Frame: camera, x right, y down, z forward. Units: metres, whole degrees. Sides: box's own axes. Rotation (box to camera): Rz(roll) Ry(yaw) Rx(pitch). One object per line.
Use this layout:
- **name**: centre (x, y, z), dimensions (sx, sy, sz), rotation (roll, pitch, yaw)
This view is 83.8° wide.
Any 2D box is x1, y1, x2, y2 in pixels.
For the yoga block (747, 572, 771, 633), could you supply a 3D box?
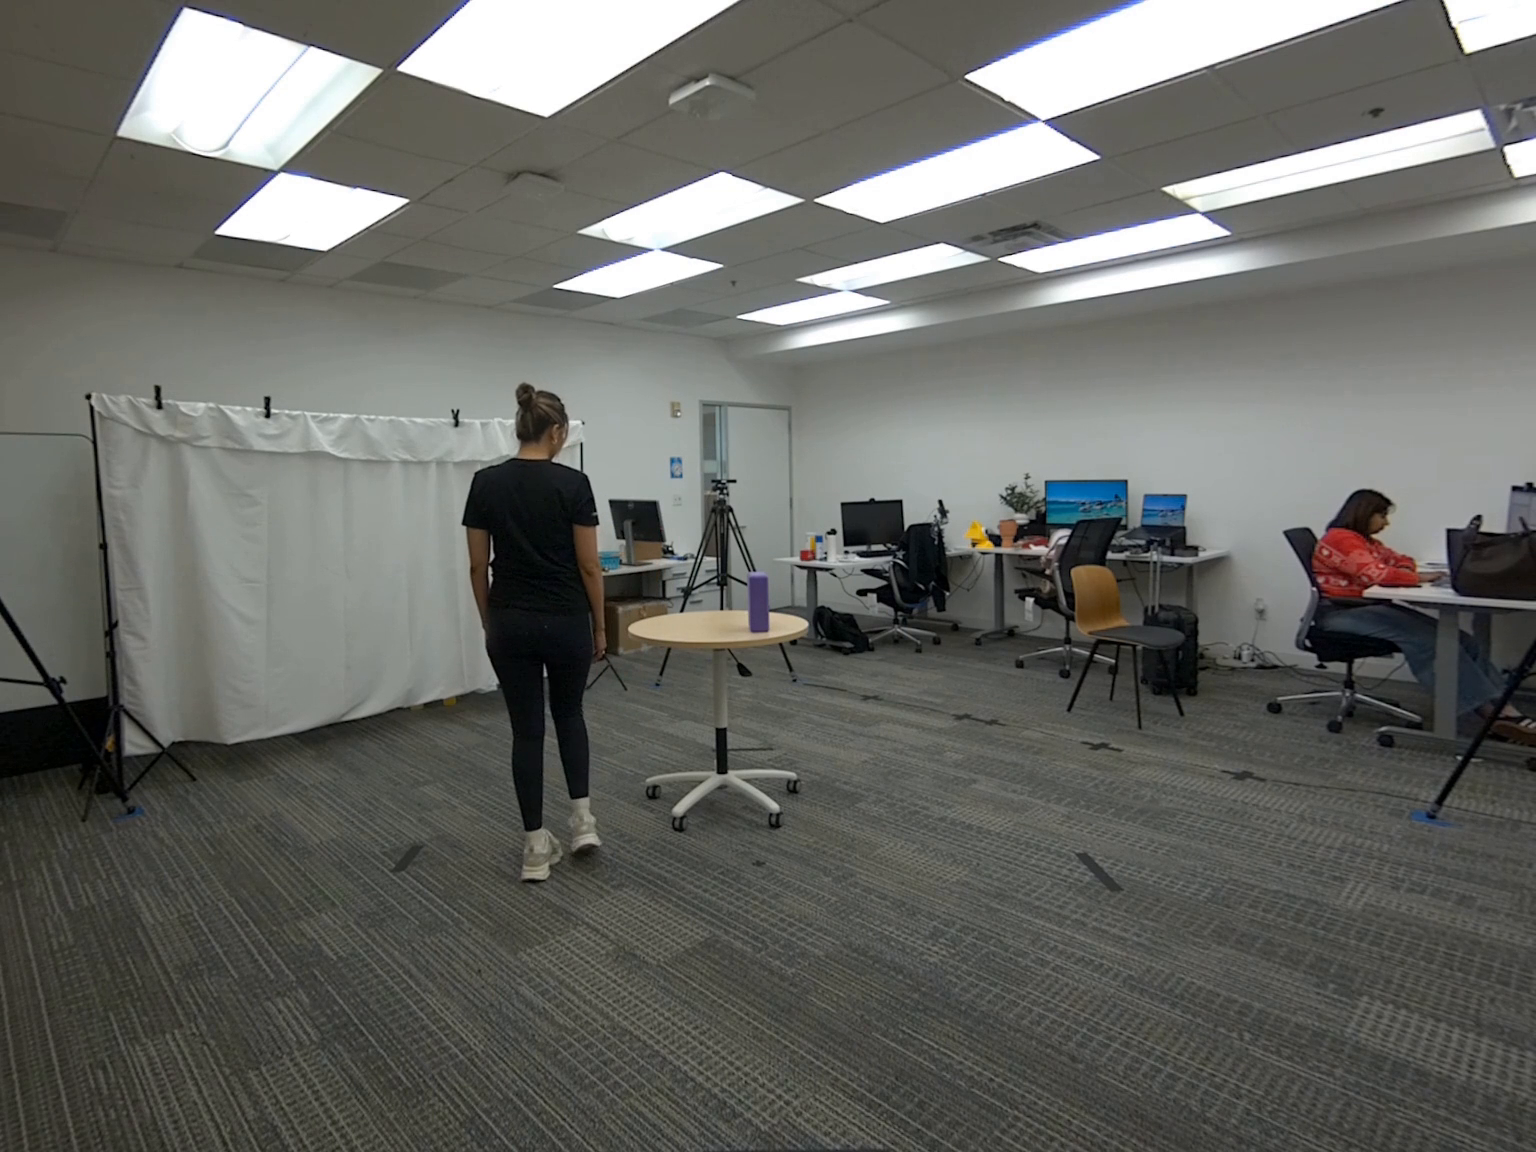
- **yoga block**: centre (-0.040, 0.105, 3.493), dimensions (0.076, 0.227, 0.150), rotation (-2, 10, 1)
